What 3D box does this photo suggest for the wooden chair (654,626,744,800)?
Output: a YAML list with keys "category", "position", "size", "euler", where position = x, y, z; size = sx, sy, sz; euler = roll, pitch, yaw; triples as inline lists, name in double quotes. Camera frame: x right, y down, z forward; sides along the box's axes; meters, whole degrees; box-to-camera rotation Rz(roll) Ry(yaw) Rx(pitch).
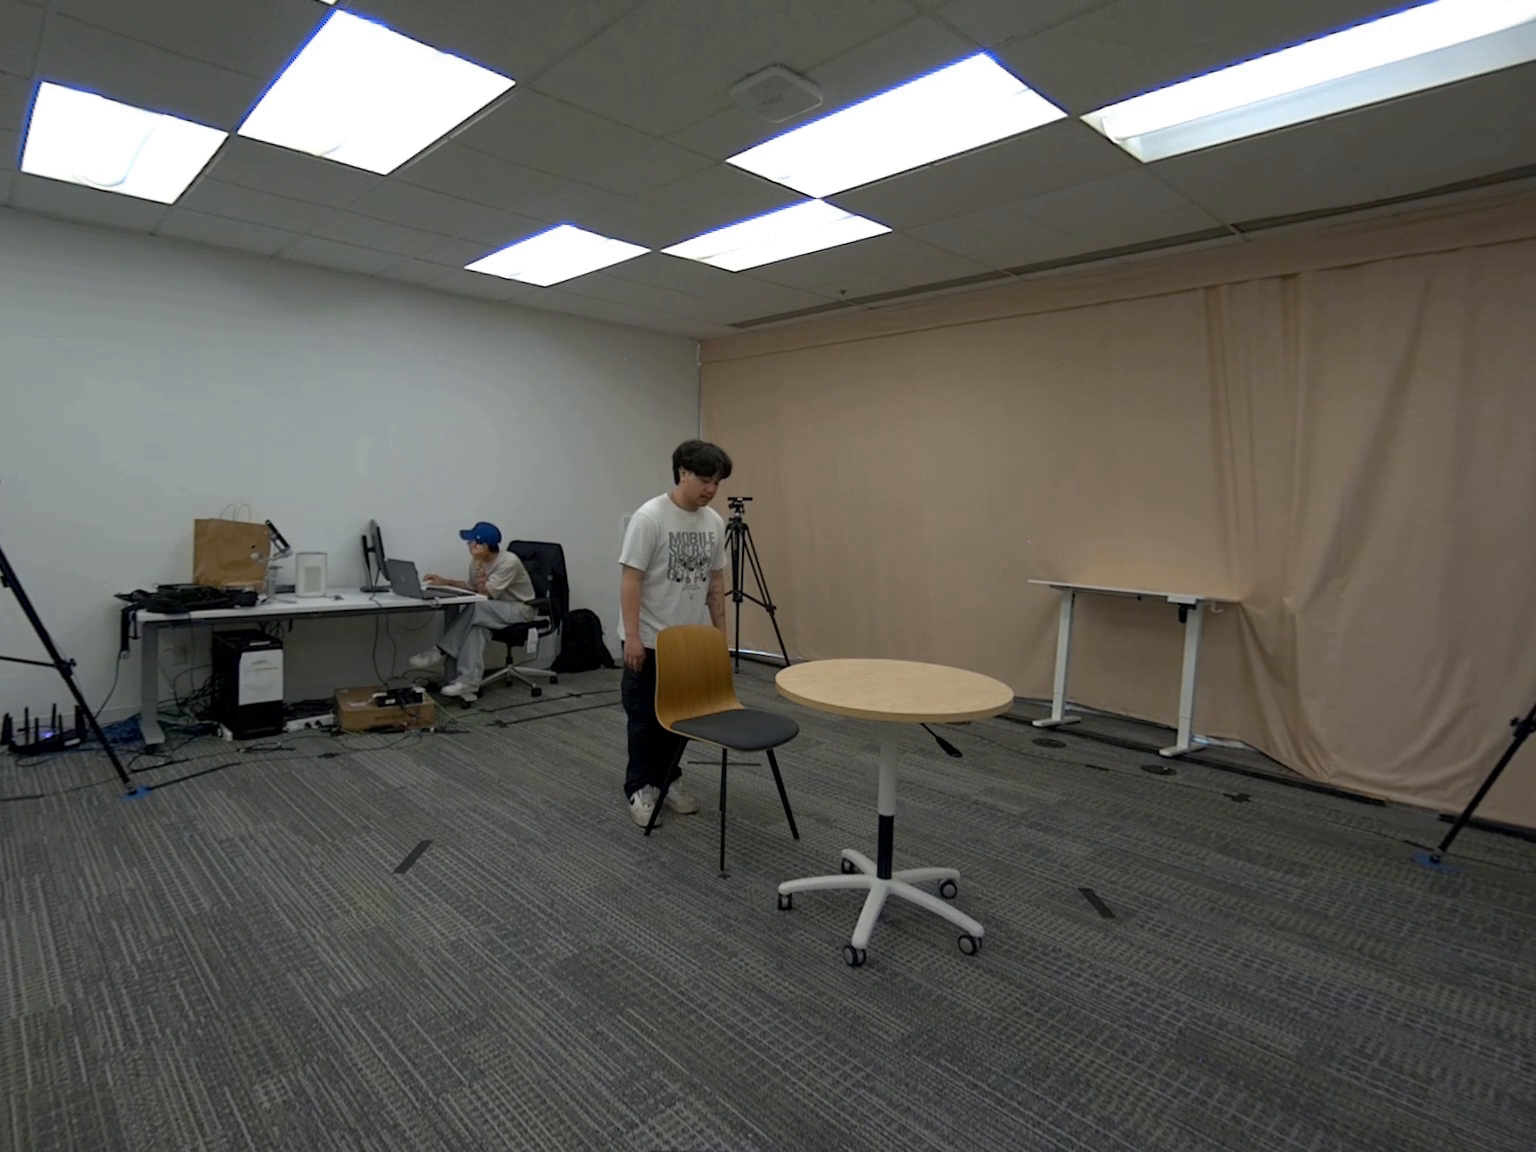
- category: "wooden chair"
  position: [-0.178, 0.649, 3.422]
  size: [0.535, 0.878, 0.467]
  euler: [-2, 0, 44]
